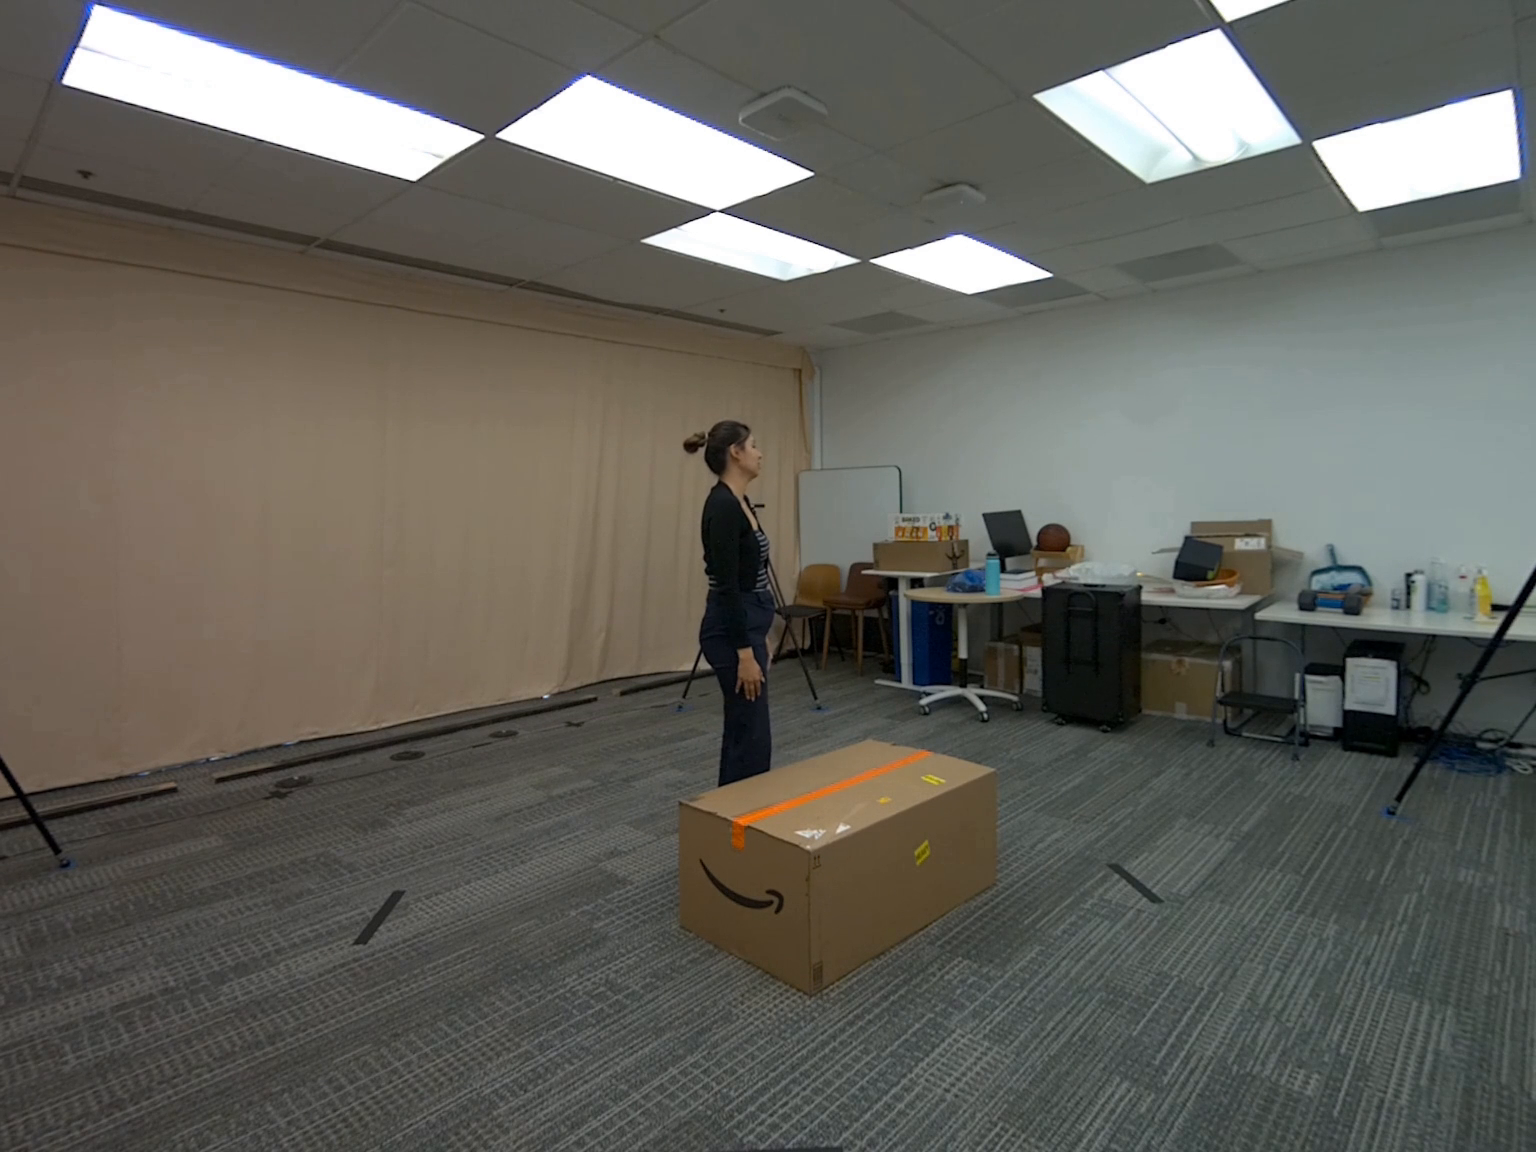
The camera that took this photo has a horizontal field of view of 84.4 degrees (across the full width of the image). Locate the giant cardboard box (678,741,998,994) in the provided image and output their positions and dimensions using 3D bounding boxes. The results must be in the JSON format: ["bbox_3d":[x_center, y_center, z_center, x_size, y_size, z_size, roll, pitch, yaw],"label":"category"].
[{"bbox_3d":[0.274,0.928,2.907,0.995,0.425,0.596,-6,6,-44],"label":"giant cardboard box"}]
